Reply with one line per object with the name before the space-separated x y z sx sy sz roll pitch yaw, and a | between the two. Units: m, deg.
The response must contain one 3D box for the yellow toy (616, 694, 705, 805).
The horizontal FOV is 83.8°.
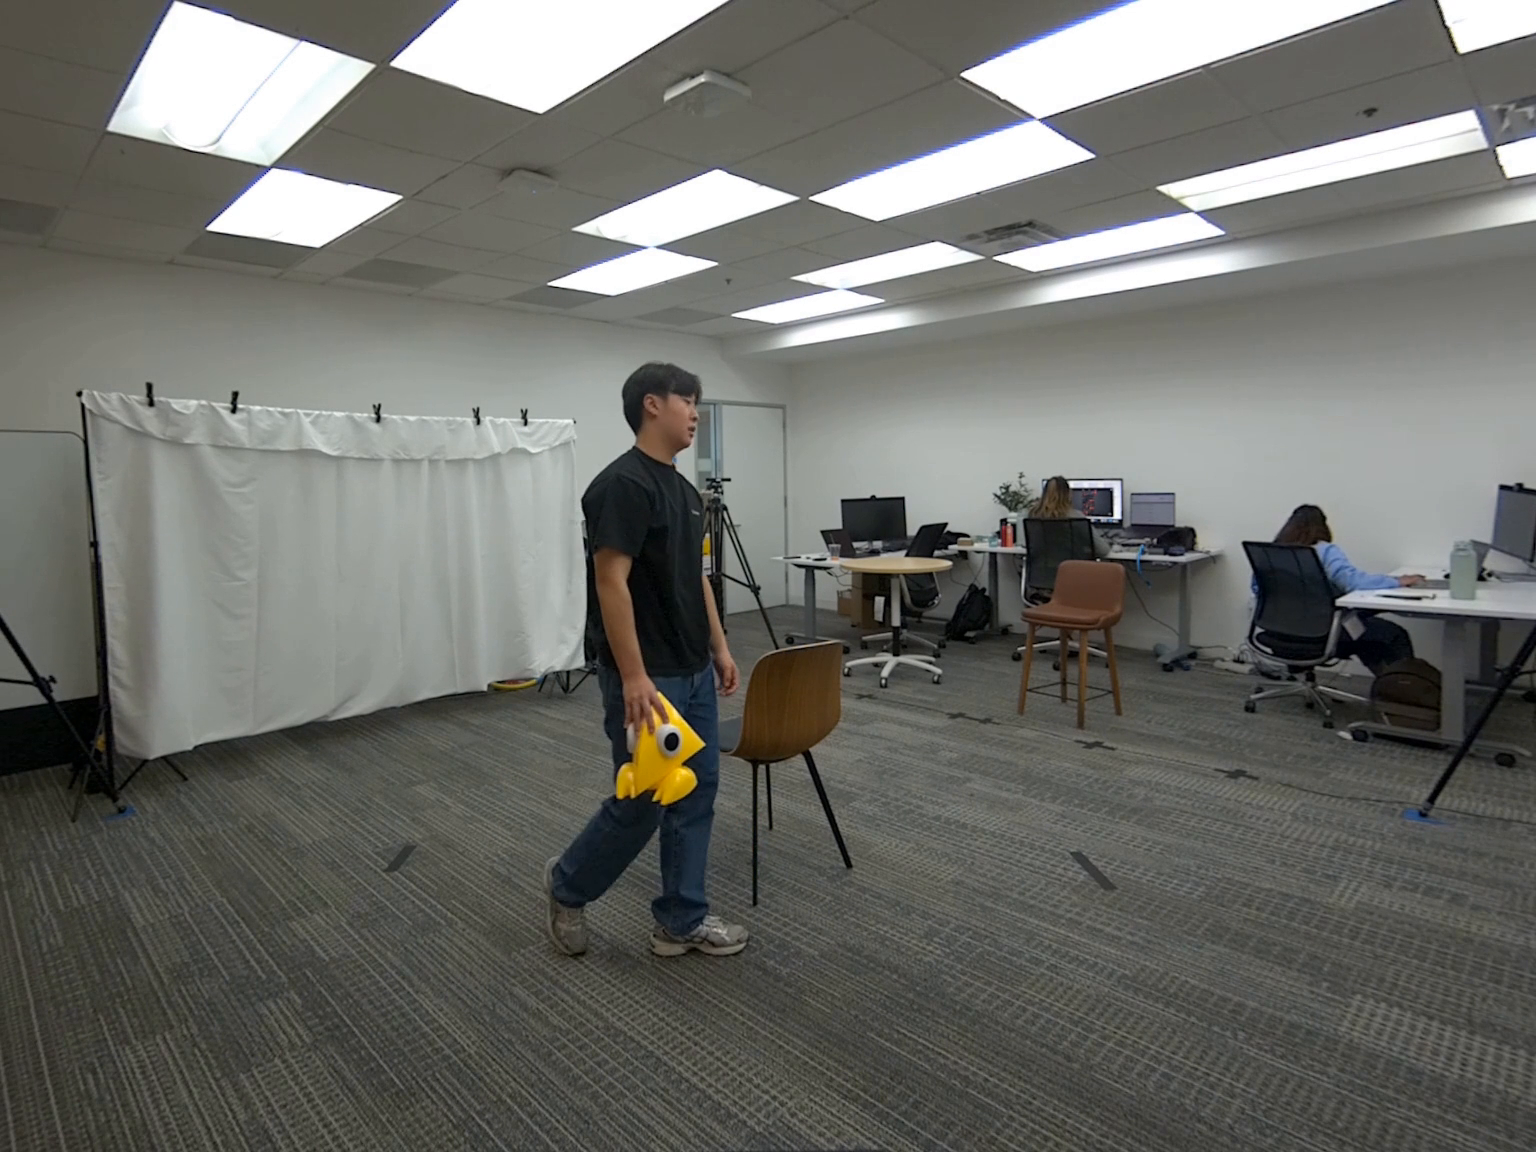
yellow toy | -0.289 0.434 2.190 0.209 0.228 0.191 -1 13 26
